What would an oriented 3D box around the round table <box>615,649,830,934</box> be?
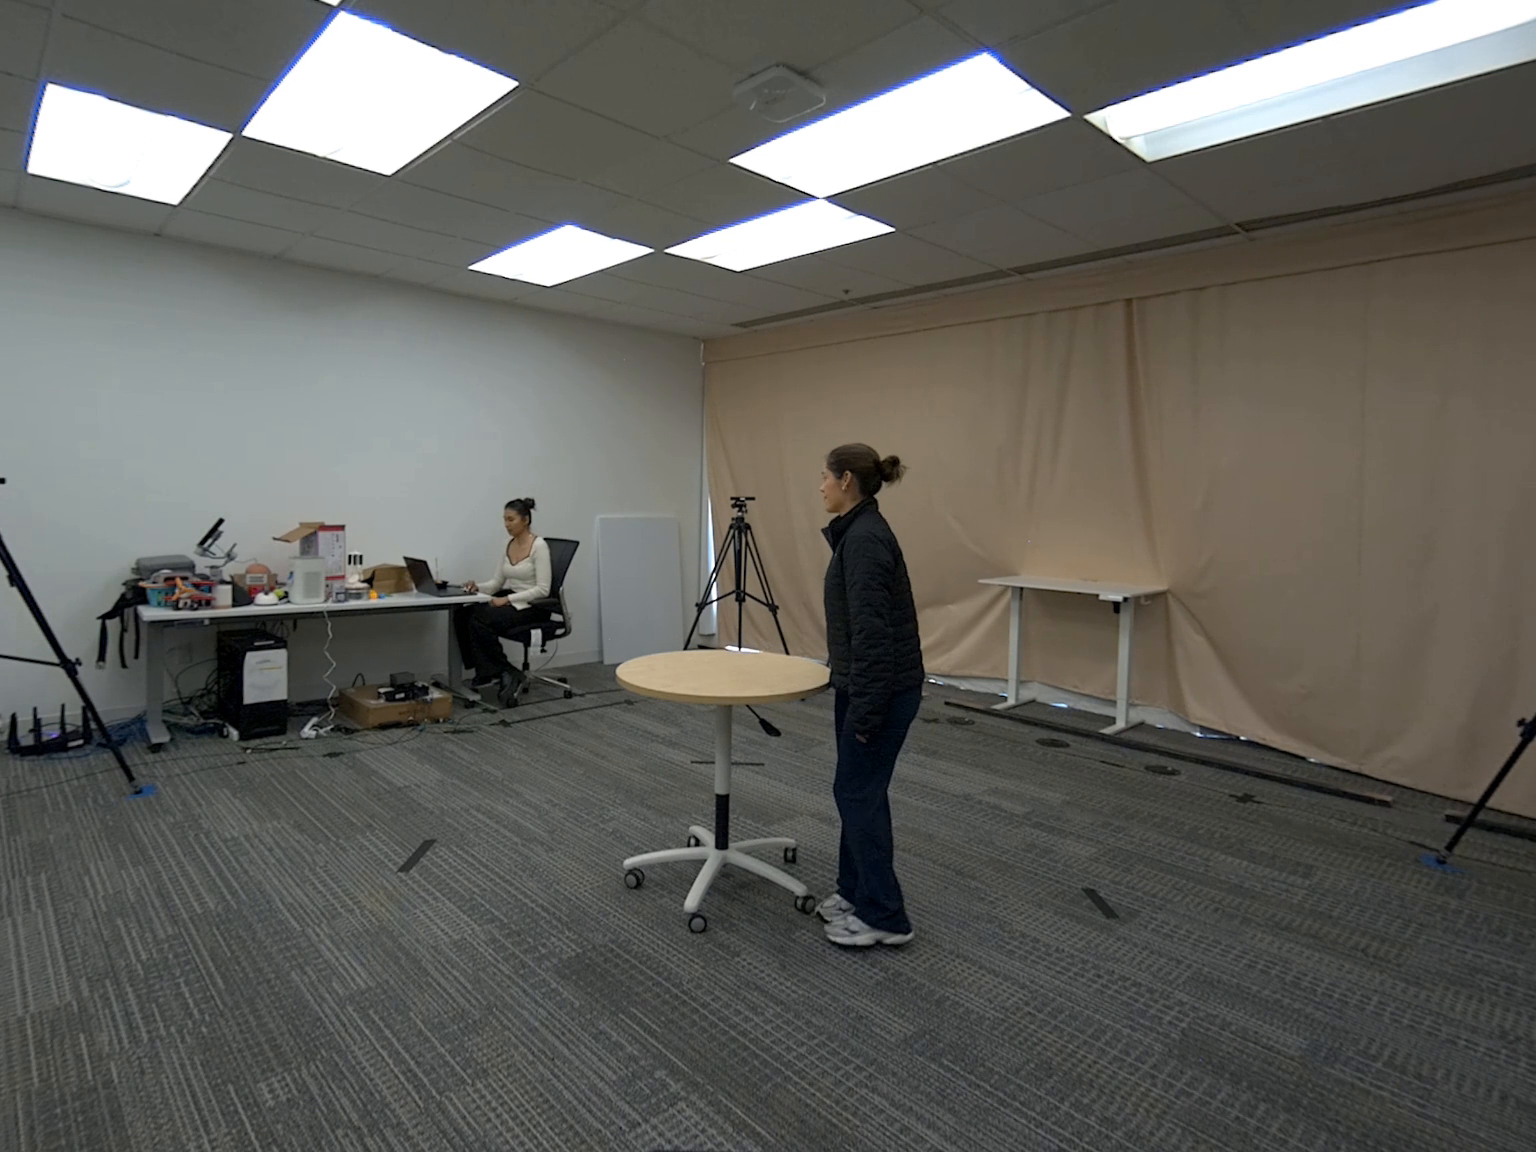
[{"bbox_3d":[-0.169,0.722,2.988,0.784,0.784,0.788,1,4,-1],"label":"round table"}]
